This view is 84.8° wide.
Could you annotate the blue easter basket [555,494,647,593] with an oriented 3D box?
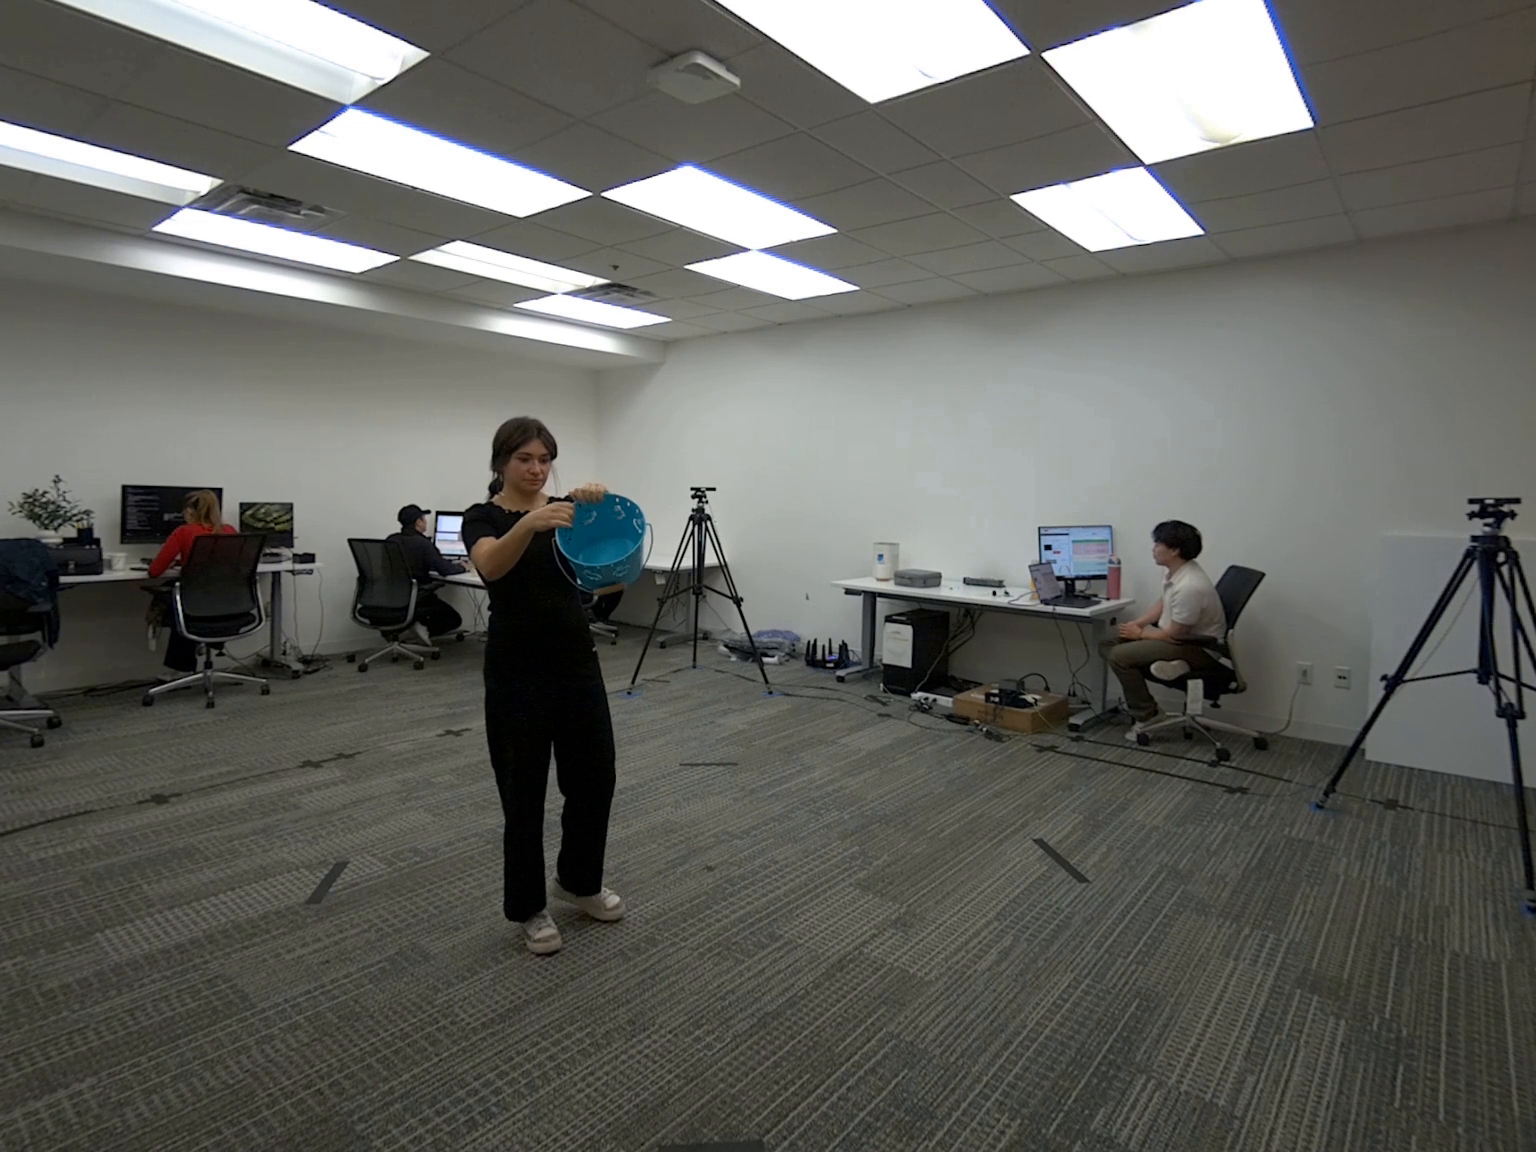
[{"bbox_3d":[-0.431,-0.072,2.182,0.245,0.250,0.151,1,-37,3],"label":"blue easter basket"}]
